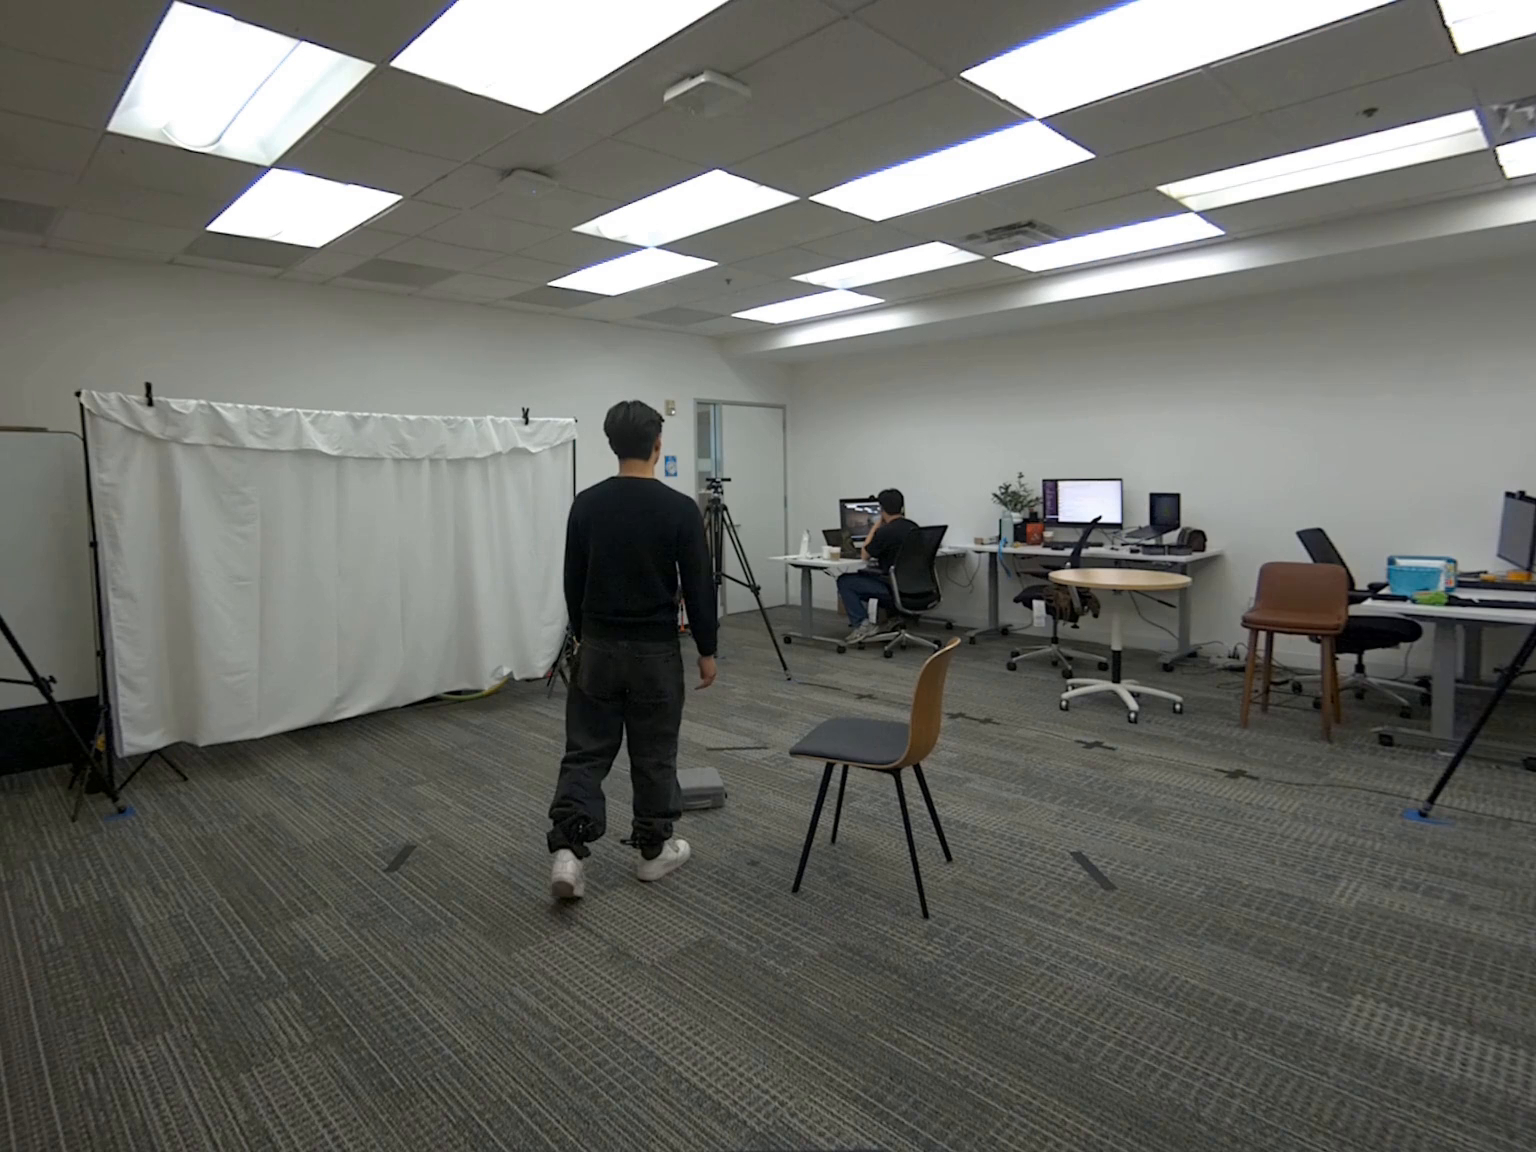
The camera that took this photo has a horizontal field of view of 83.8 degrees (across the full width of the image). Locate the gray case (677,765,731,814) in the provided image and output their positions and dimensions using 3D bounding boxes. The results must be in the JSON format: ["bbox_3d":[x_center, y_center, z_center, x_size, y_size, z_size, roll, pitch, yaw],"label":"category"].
[{"bbox_3d":[-0.318,0.924,3.723,0.254,0.104,0.264,-2,6,-12],"label":"gray case"}]
